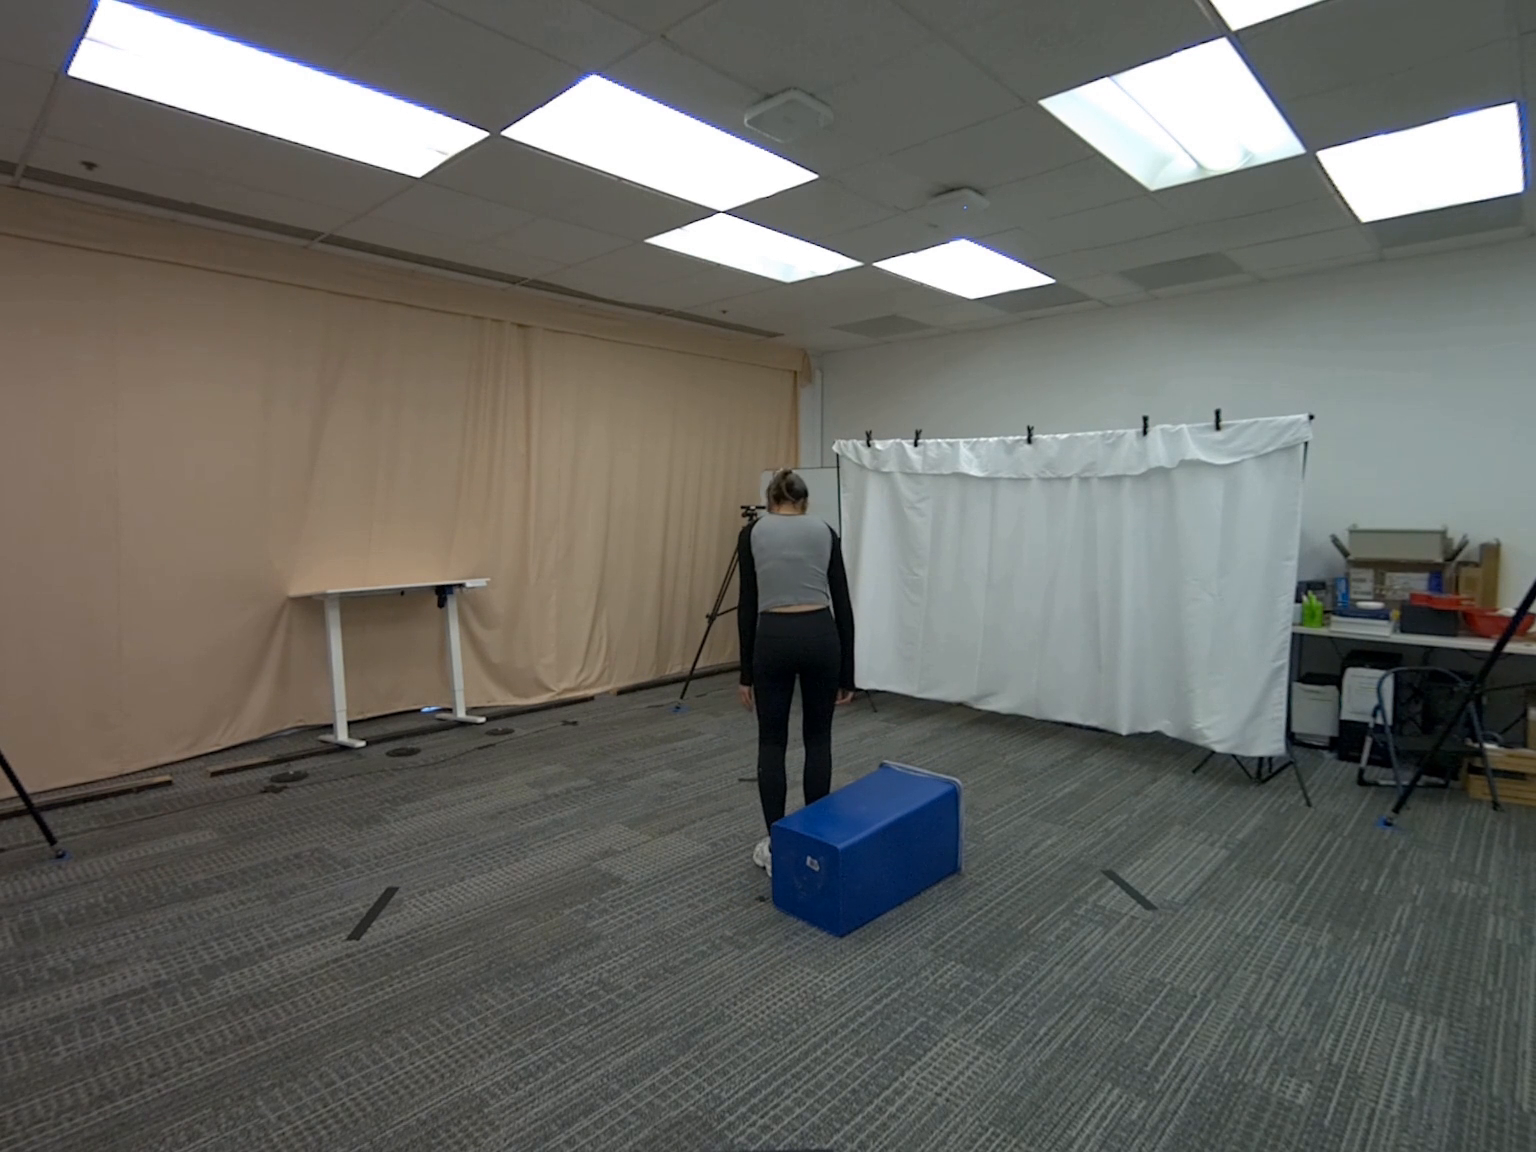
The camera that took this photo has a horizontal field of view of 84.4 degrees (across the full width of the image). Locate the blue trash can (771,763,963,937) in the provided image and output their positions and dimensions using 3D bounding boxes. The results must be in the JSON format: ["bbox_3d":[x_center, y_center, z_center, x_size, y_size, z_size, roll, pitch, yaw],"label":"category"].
[{"bbox_3d":[0.372,0.964,3.041,0.391,0.373,0.692,4,8,43],"label":"blue trash can"}]
